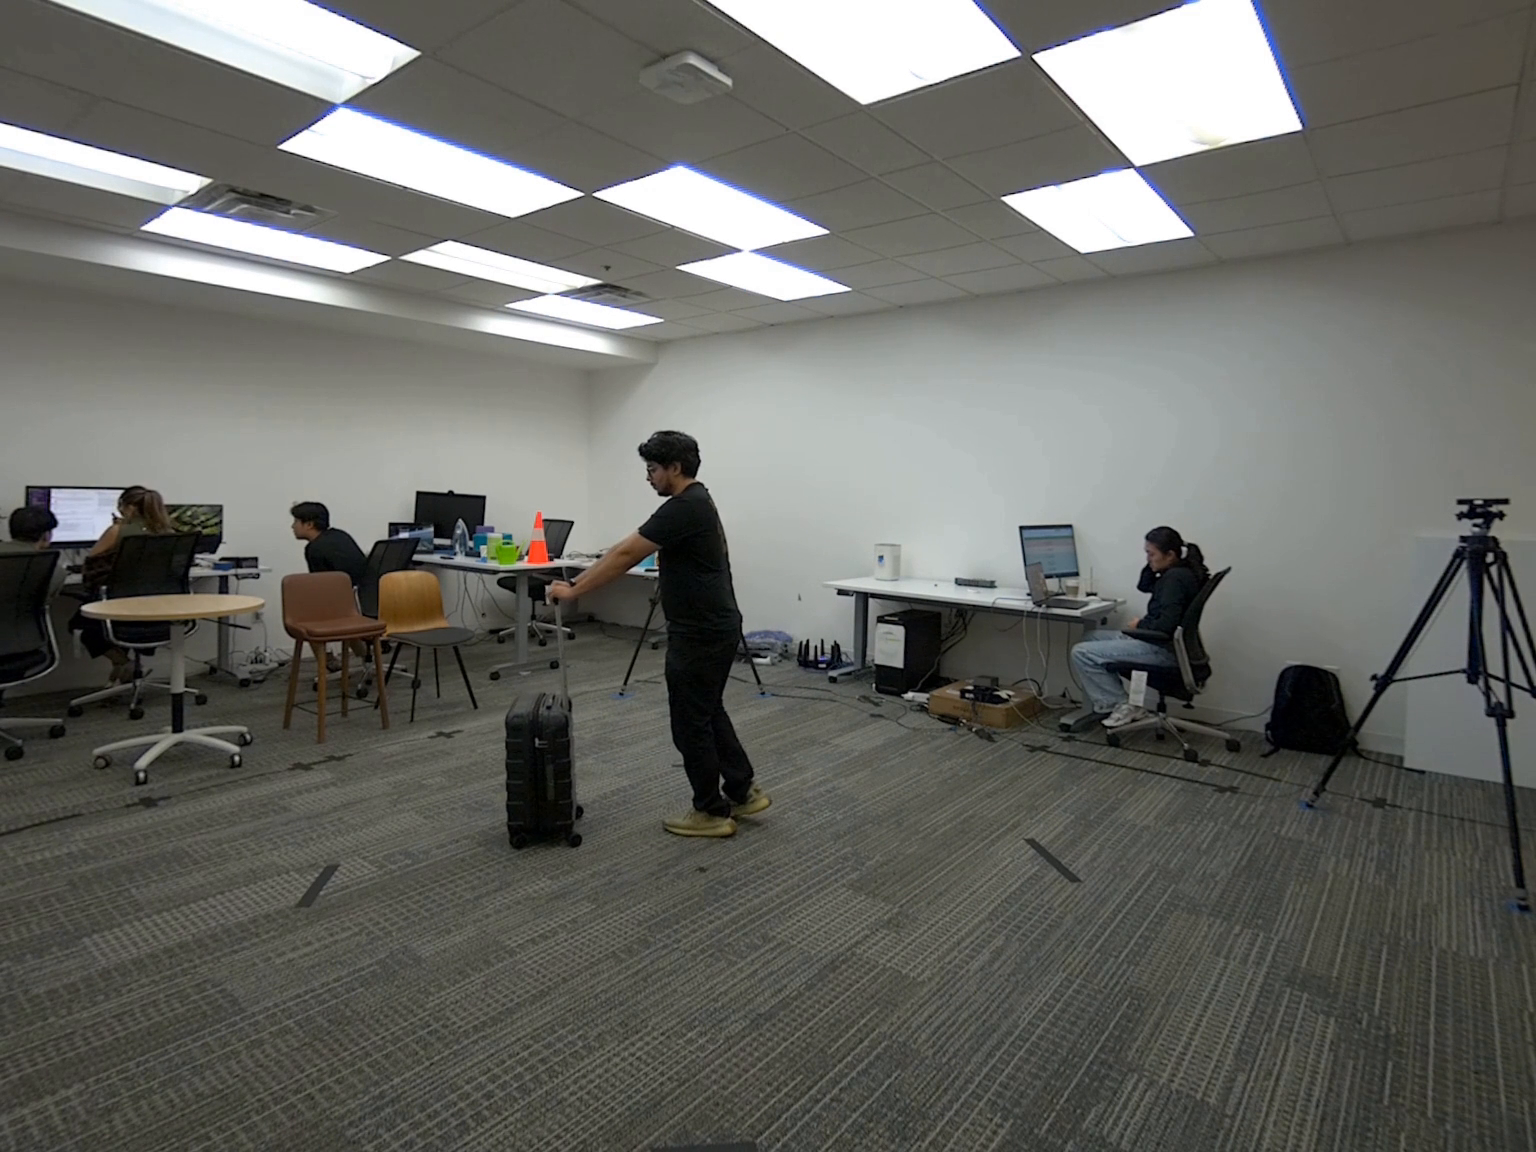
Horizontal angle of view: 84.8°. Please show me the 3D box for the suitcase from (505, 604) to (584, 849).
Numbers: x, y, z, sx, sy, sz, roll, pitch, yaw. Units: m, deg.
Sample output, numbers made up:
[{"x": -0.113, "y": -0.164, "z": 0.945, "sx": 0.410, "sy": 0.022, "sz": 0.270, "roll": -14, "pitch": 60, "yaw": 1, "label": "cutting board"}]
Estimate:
[{"x": -0.927, "y": 0.556, "z": 3.391, "sx": 0.255, "sy": 0.975, "sz": 0.388, "roll": -5, "pitch": 4, "yaw": -8, "label": "suitcase"}]
